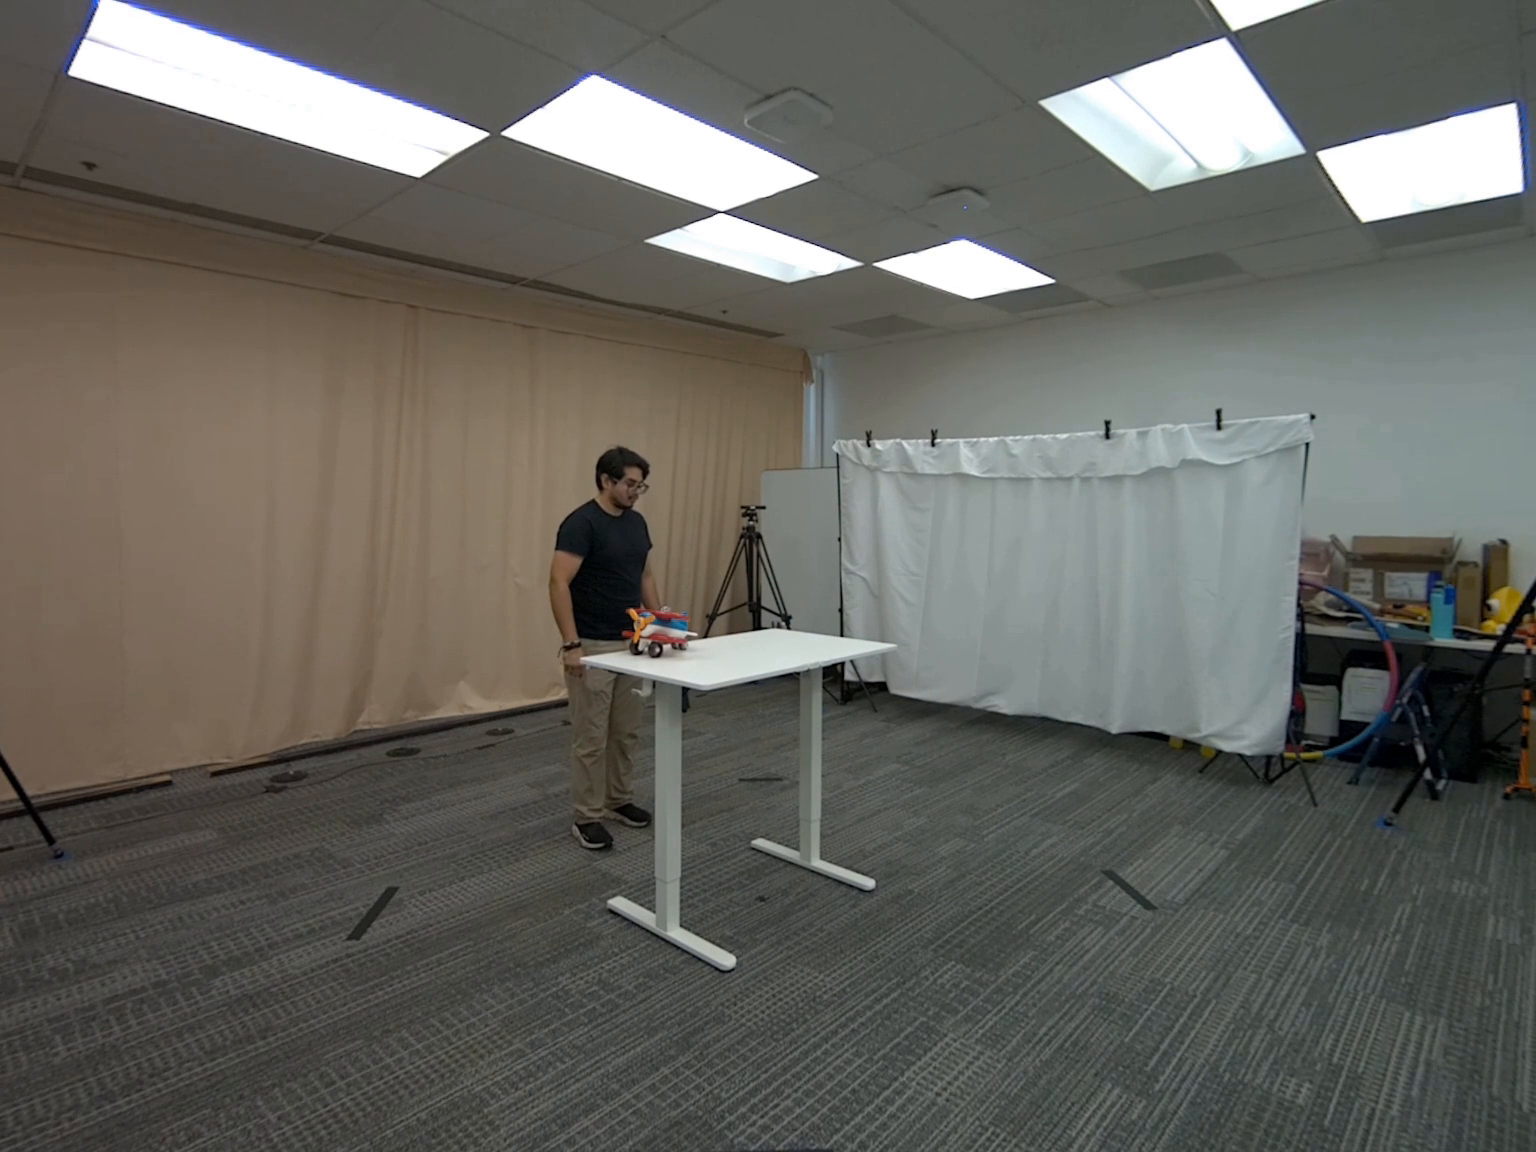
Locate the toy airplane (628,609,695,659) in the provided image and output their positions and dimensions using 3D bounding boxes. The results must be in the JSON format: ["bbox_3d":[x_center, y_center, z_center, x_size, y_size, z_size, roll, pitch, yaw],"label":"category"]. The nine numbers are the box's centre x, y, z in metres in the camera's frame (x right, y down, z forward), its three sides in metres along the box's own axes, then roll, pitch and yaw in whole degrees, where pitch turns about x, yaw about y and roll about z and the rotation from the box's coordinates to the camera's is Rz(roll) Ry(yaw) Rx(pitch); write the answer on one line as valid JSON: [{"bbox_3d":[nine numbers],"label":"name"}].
[{"bbox_3d":[-0.377,0.189,2.909,0.253,0.156,0.257,2,5,8],"label":"toy airplane"}]
